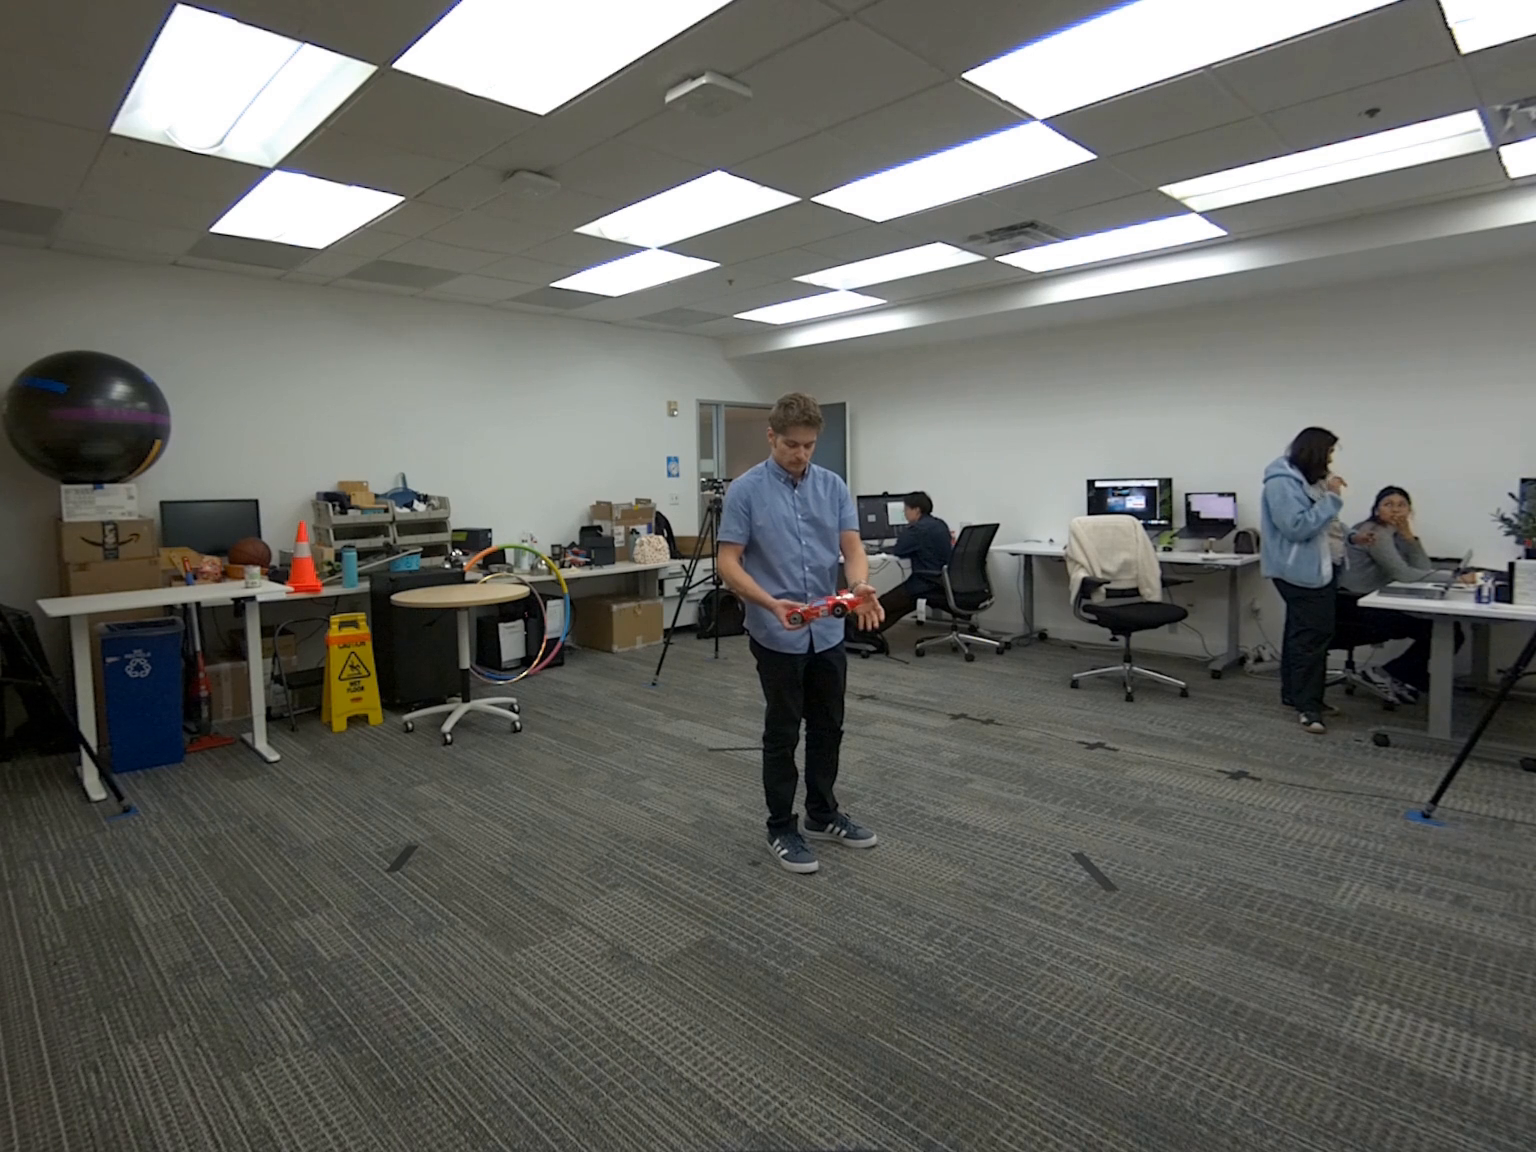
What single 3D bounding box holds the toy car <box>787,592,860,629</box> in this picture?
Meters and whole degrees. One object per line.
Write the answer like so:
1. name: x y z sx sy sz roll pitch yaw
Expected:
1. toy car: 0.189 0.111 2.756 0.257 0.084 0.128 -25 -6 19
